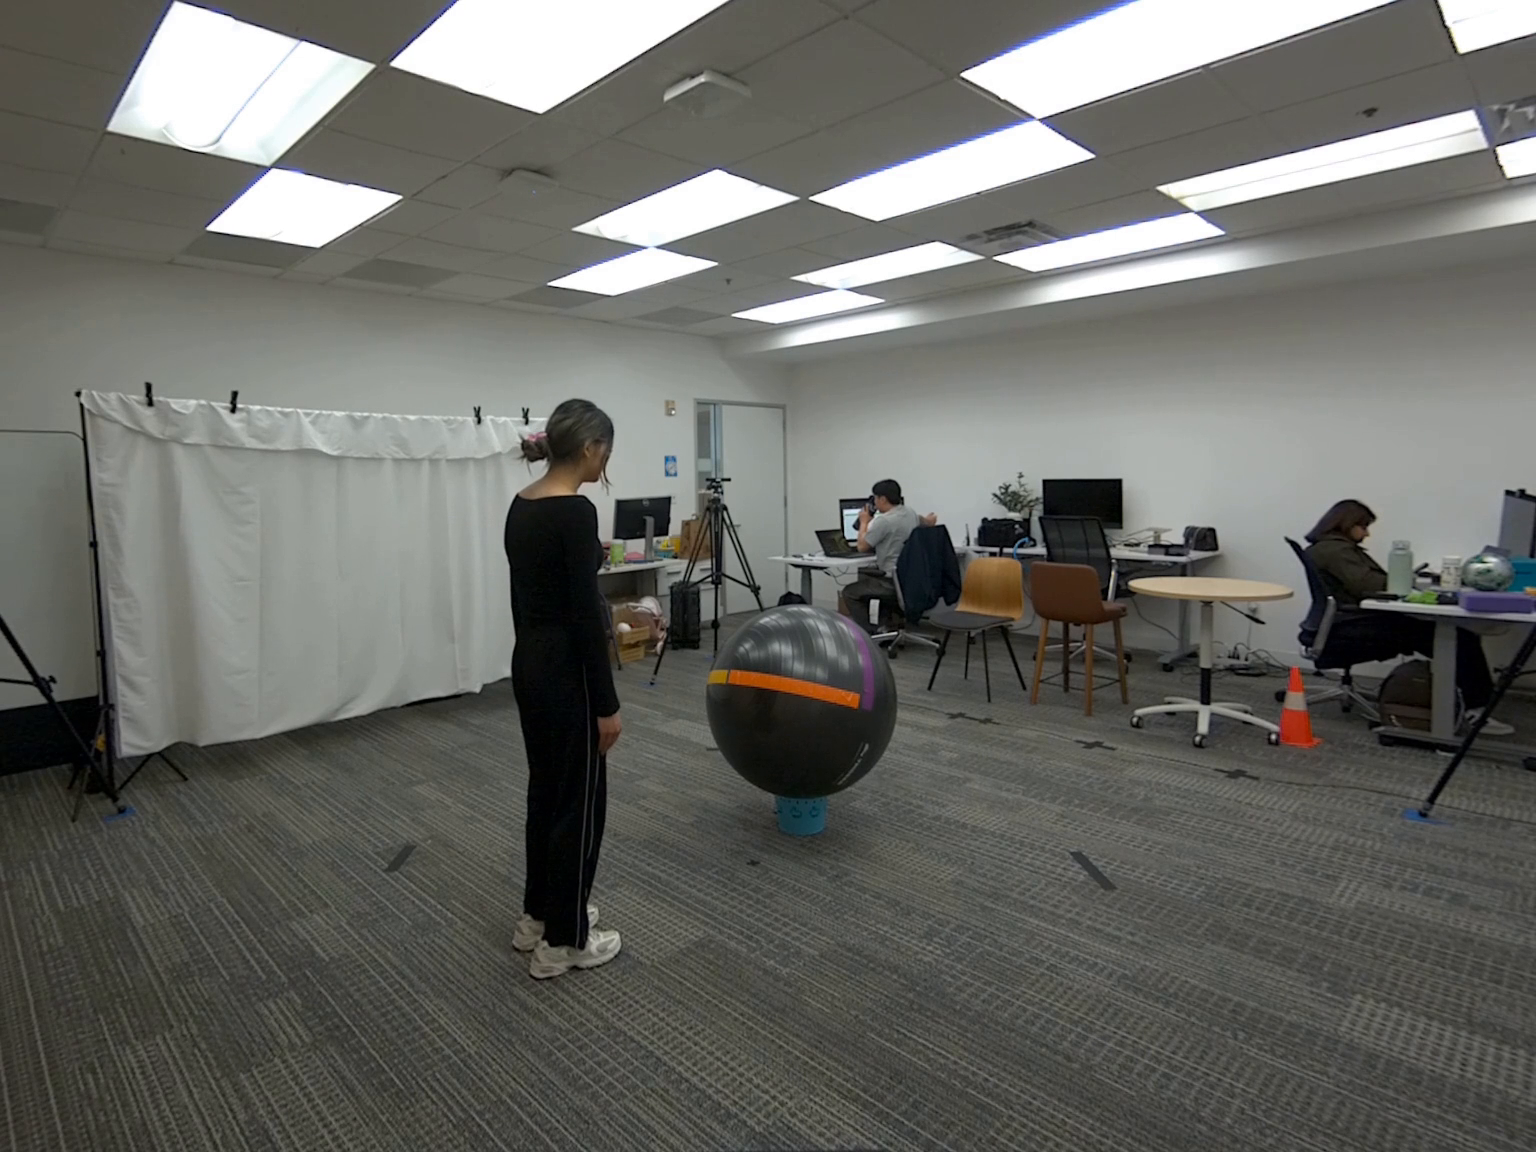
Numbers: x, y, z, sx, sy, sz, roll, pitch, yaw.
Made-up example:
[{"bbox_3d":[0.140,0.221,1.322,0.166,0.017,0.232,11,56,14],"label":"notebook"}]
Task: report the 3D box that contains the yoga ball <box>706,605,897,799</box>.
[{"bbox_3d":[0.127,0.494,3.409,0.757,0.755,0.762,-1,5,-2],"label":"yoga ball"}]
